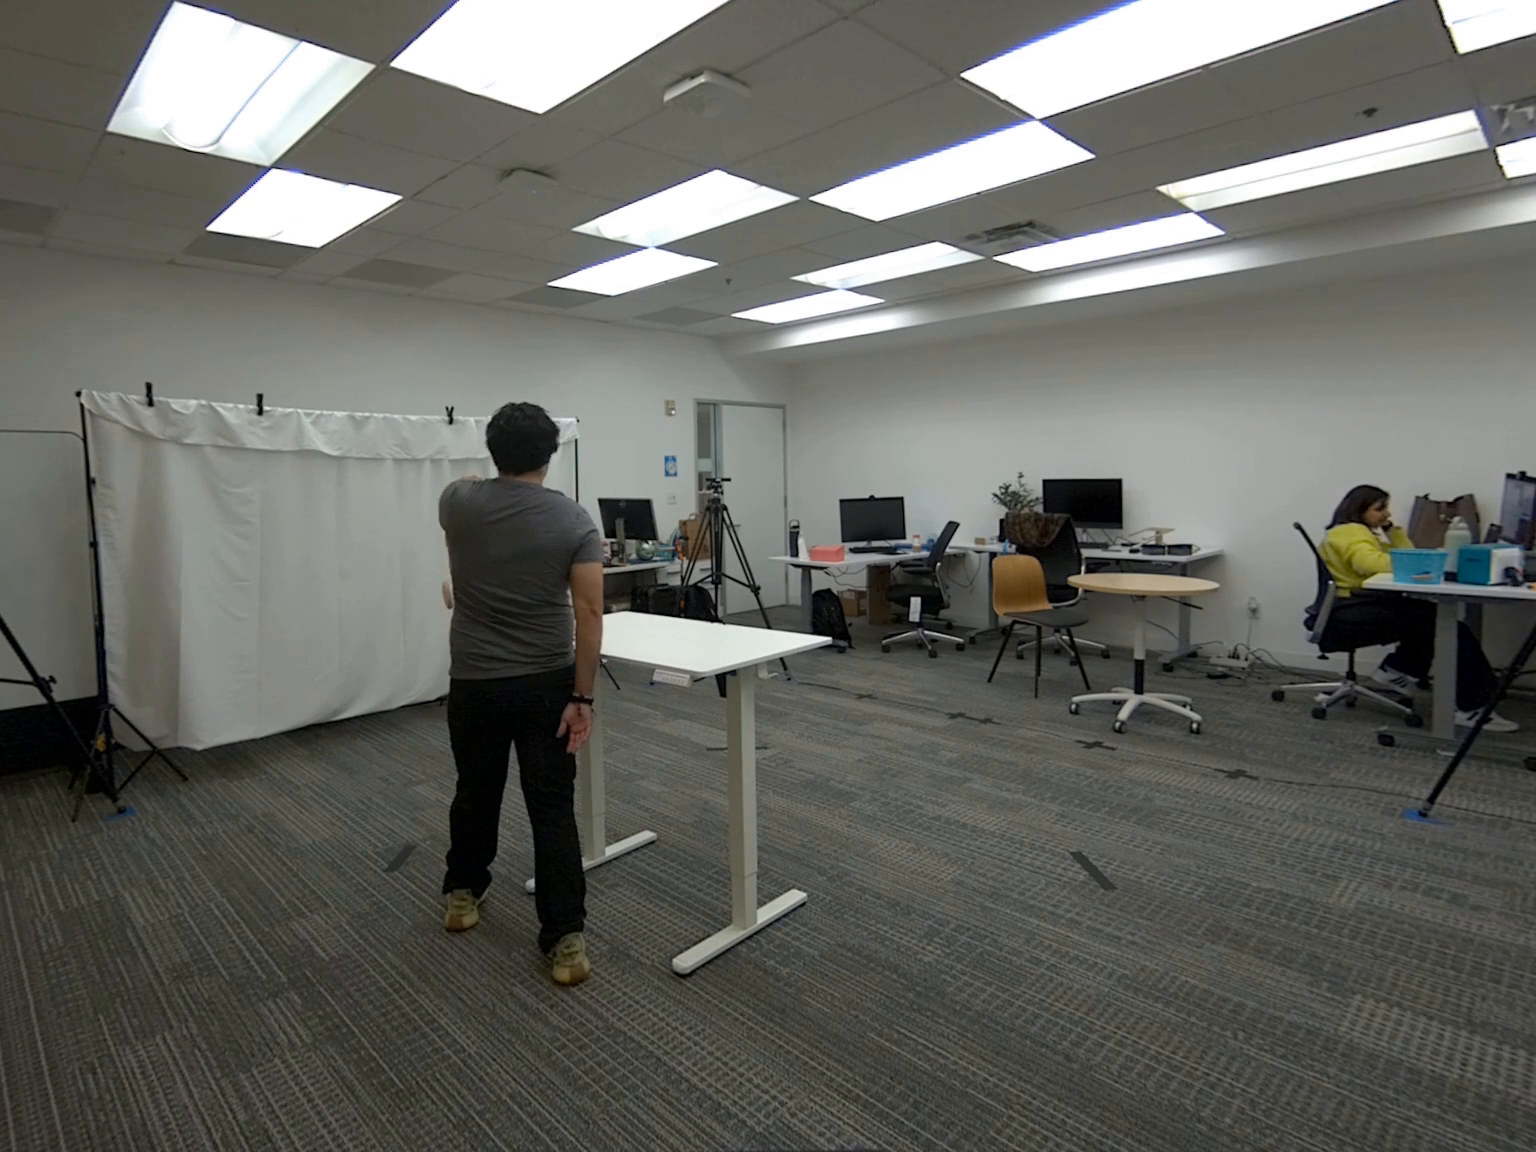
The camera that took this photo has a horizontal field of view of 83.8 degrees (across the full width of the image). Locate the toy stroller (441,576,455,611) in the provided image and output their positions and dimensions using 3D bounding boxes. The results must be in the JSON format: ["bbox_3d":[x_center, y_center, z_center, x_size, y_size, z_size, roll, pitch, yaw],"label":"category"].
[{"bbox_3d":[-1.108,-0.128,3.263,0.277,0.526,0.352,-5,20,-18],"label":"toy stroller"}]
